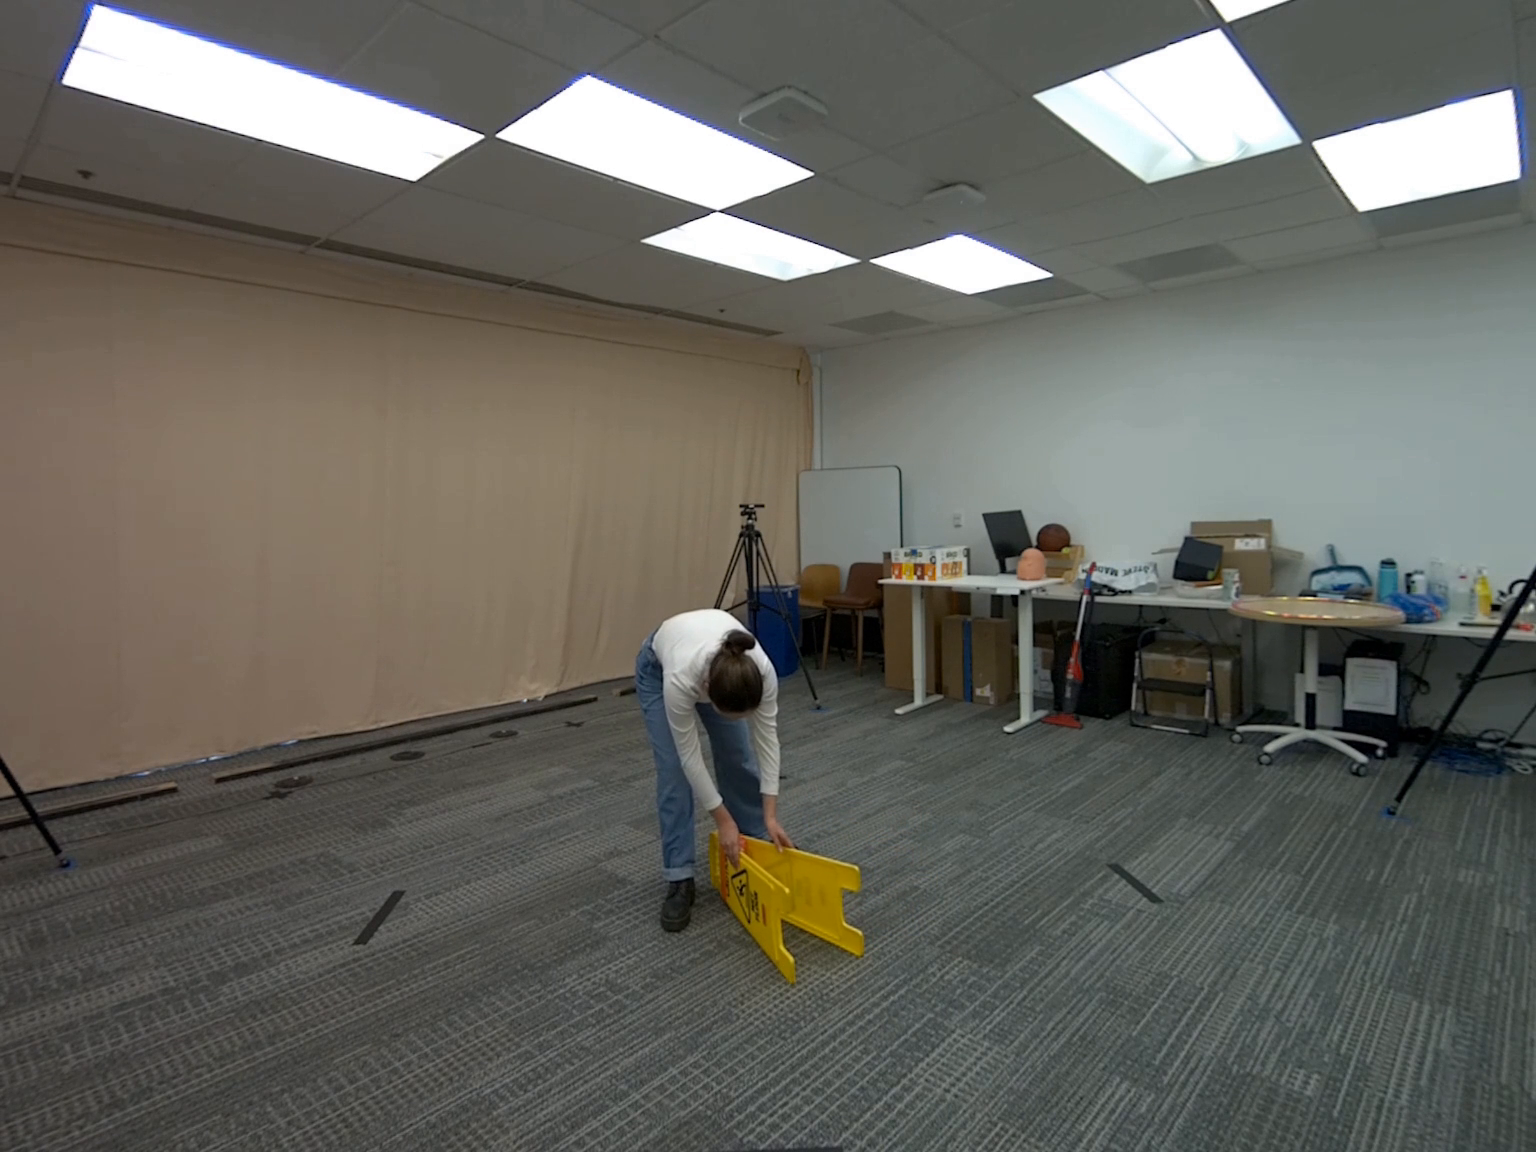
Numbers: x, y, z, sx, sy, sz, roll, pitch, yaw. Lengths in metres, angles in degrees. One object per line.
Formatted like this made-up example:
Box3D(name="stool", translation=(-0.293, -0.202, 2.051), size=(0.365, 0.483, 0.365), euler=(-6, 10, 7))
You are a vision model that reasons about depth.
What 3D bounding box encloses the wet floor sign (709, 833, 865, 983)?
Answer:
Box3D(name="wet floor sign", translation=(-0.006, 1.030, 2.771), size=(0.282, 0.282, 0.665), euler=(-5, 4, -34))
